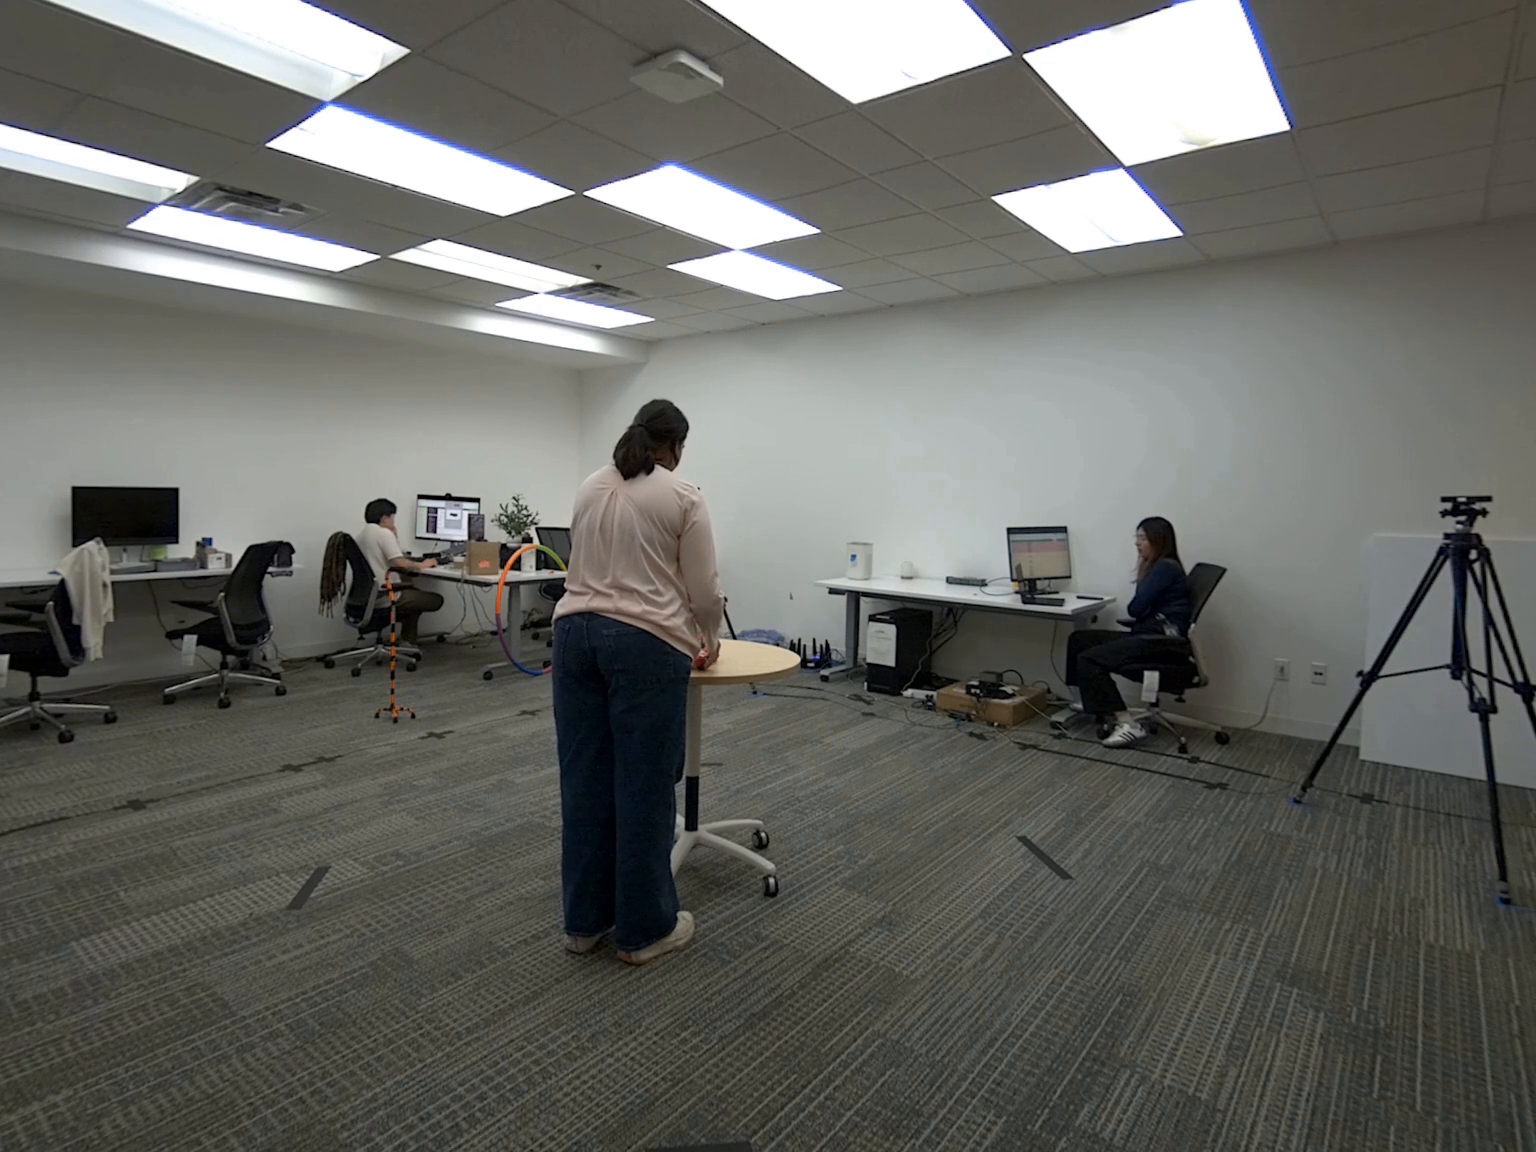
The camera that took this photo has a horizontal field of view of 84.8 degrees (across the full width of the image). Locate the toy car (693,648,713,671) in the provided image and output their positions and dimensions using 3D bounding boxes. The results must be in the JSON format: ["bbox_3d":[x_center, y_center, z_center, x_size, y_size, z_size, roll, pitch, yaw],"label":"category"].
[{"bbox_3d":[-0.247,0.266,2.930,0.132,0.082,0.255,3,17,11],"label":"toy car"}]
